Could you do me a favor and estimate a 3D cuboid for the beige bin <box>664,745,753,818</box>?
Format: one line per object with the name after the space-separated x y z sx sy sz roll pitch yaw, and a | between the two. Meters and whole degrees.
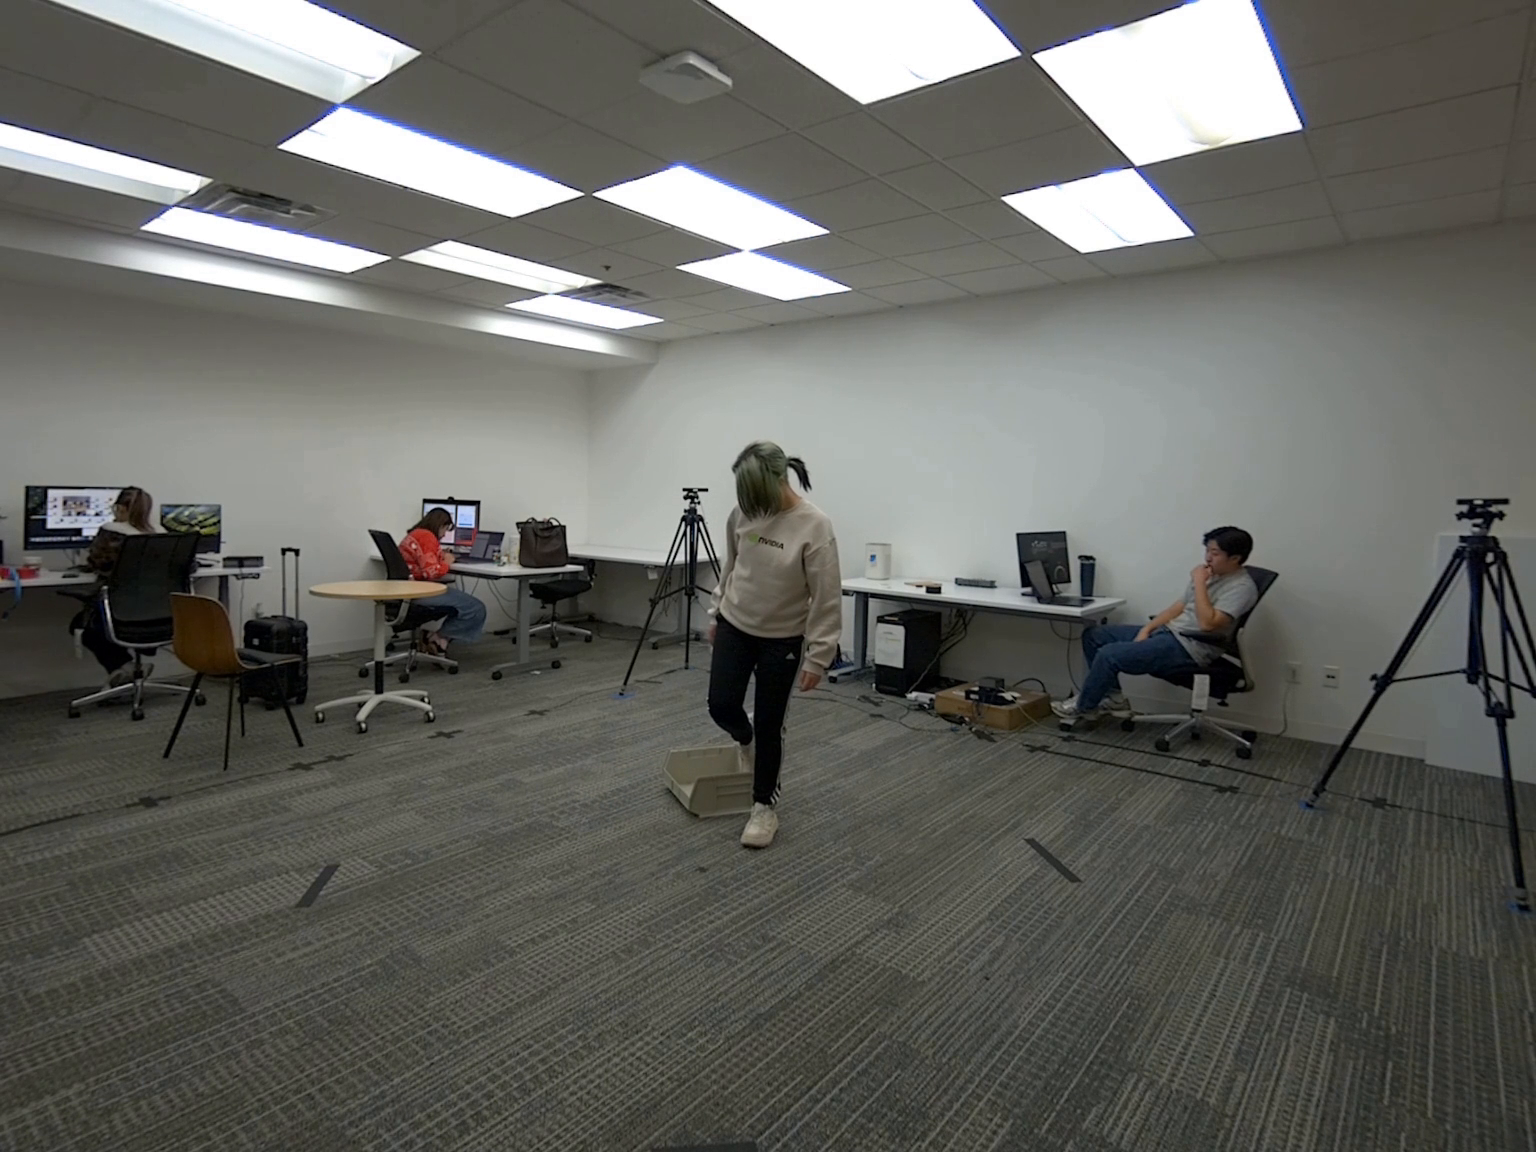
-0.253 0.908 3.830 0.369 0.188 0.433 0 5 -22 | beige bin
